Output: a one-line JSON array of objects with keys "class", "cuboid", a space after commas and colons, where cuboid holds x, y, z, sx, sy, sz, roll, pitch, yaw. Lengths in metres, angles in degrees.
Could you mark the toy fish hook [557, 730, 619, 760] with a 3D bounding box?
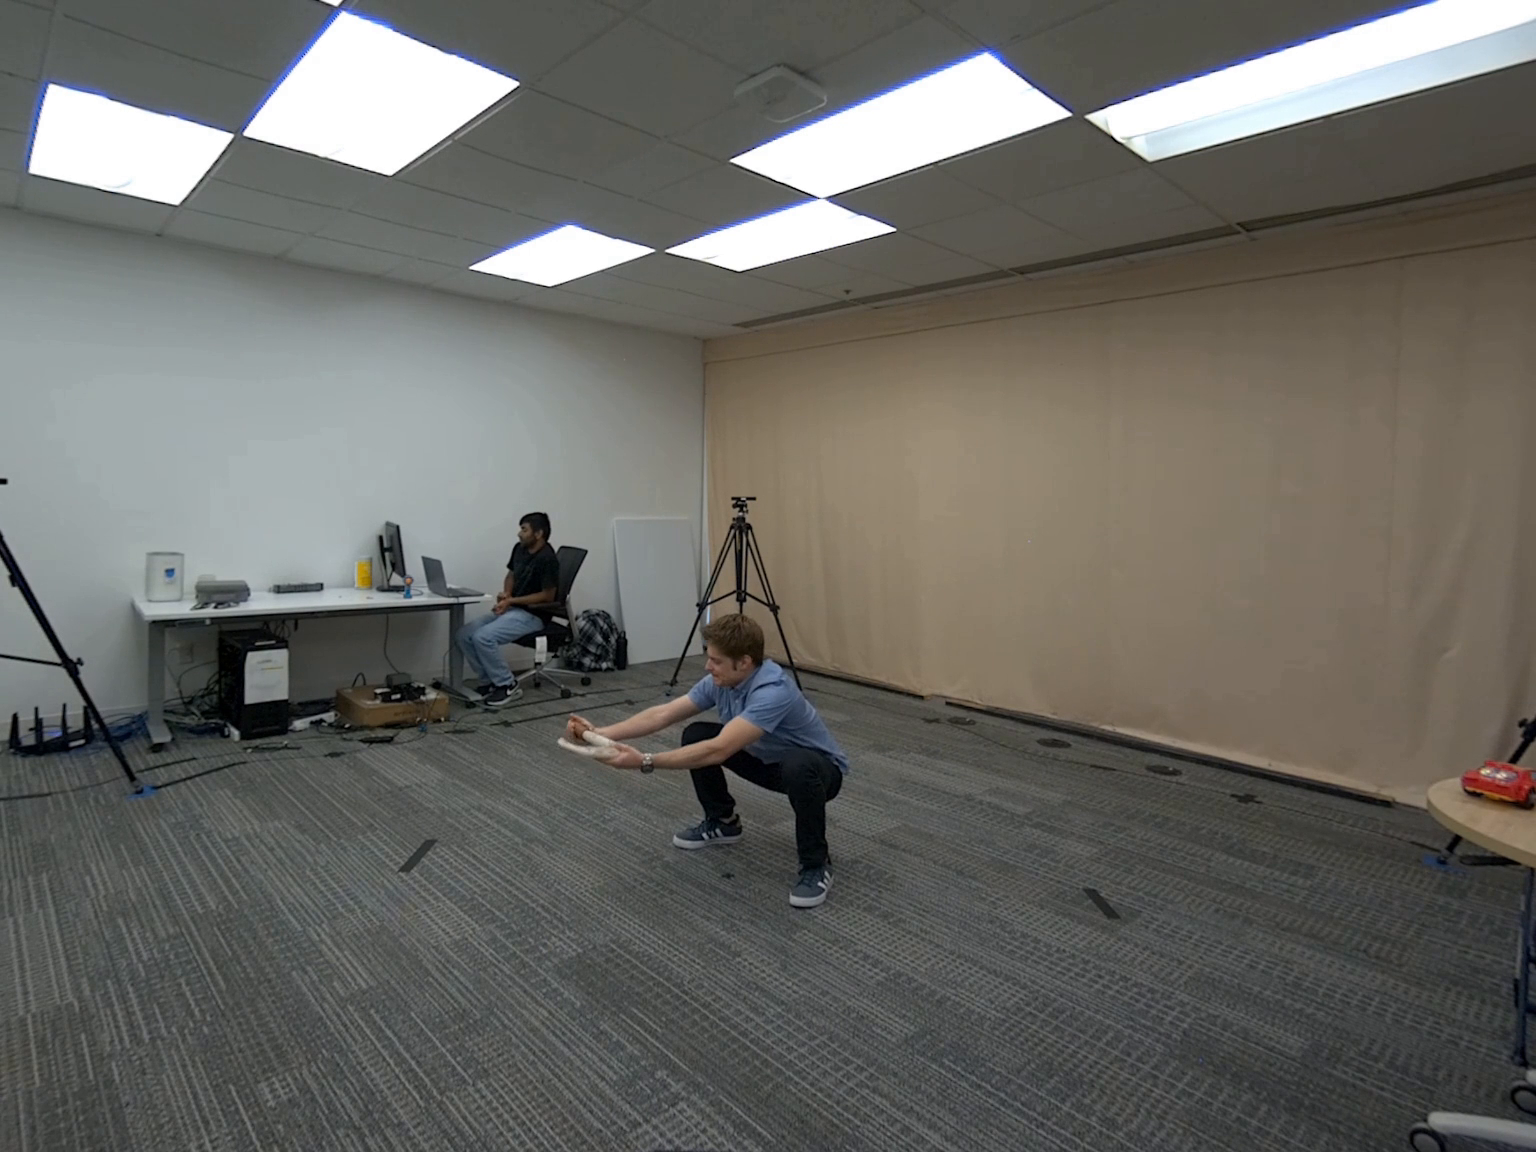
[{"class": "toy fish hook", "cuboid": [-0.687, 0.583, 3.050, 0.219, 0.048, 0.518, 16, -4, -30]}]
